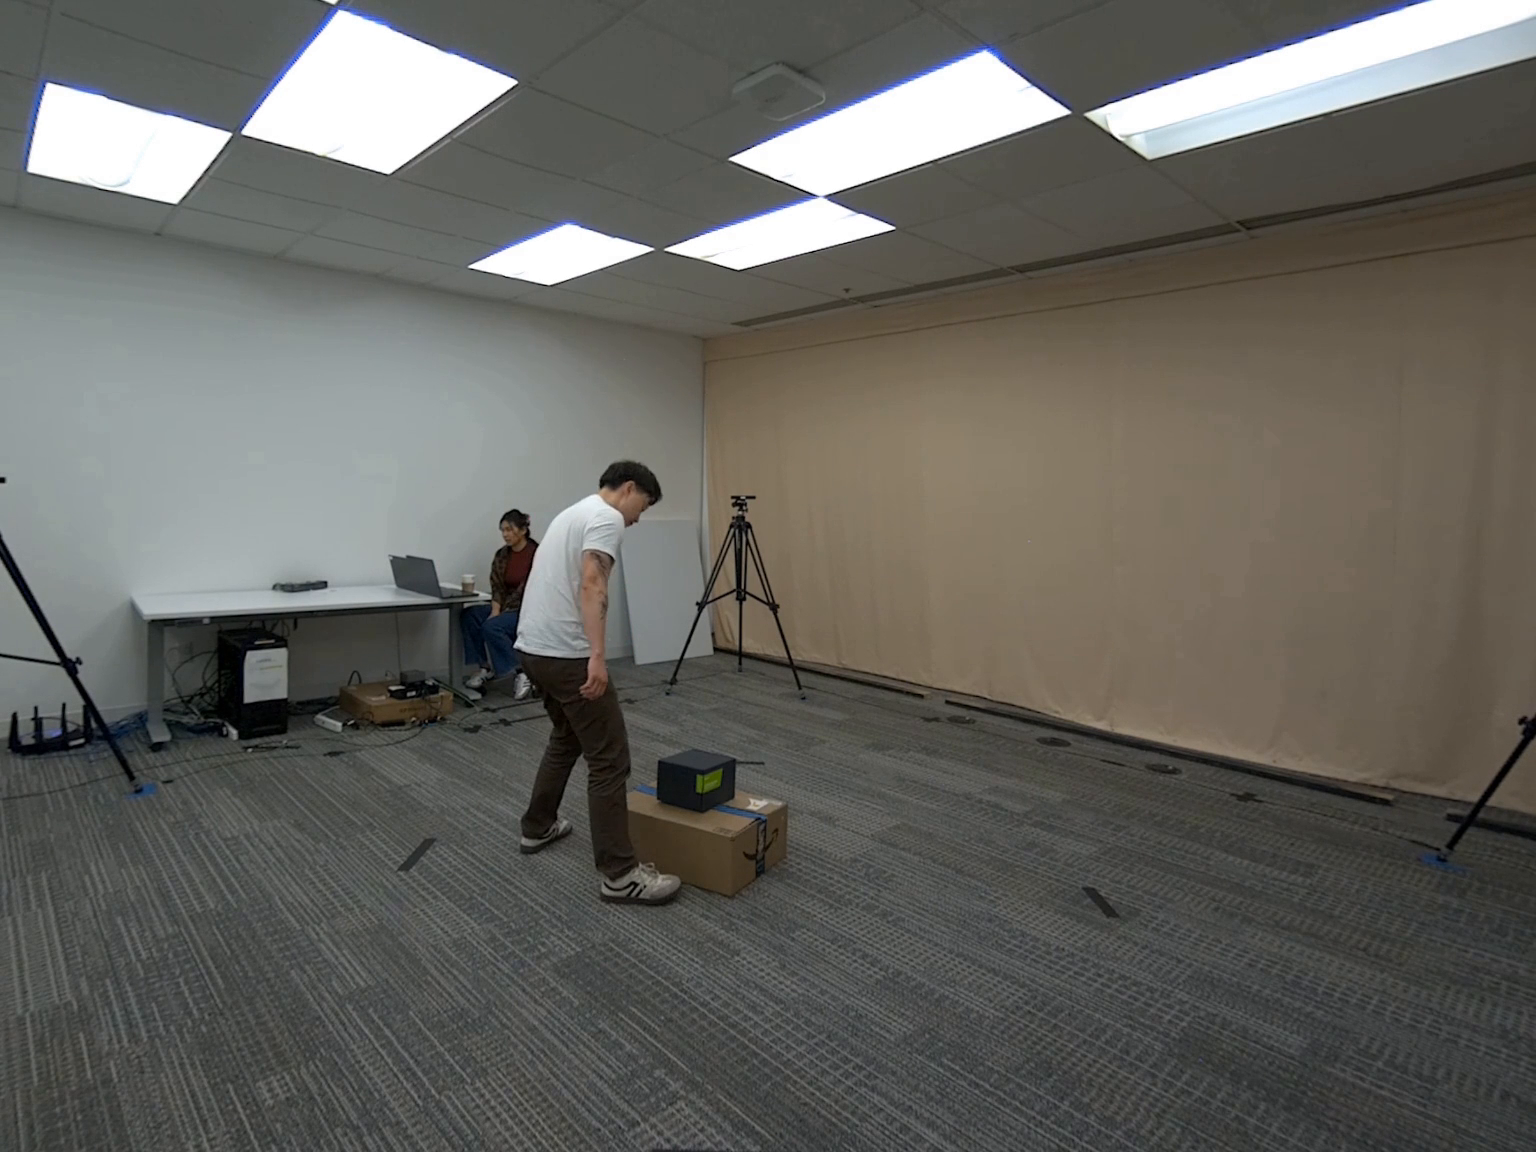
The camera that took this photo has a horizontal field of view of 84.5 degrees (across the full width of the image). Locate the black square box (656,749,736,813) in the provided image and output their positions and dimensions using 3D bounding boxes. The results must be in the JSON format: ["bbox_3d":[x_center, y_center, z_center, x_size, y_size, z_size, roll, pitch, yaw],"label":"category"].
[{"bbox_3d":[-0.284,0.785,3.257,0.222,0.156,0.223,4,3,32],"label":"black square box"}]
